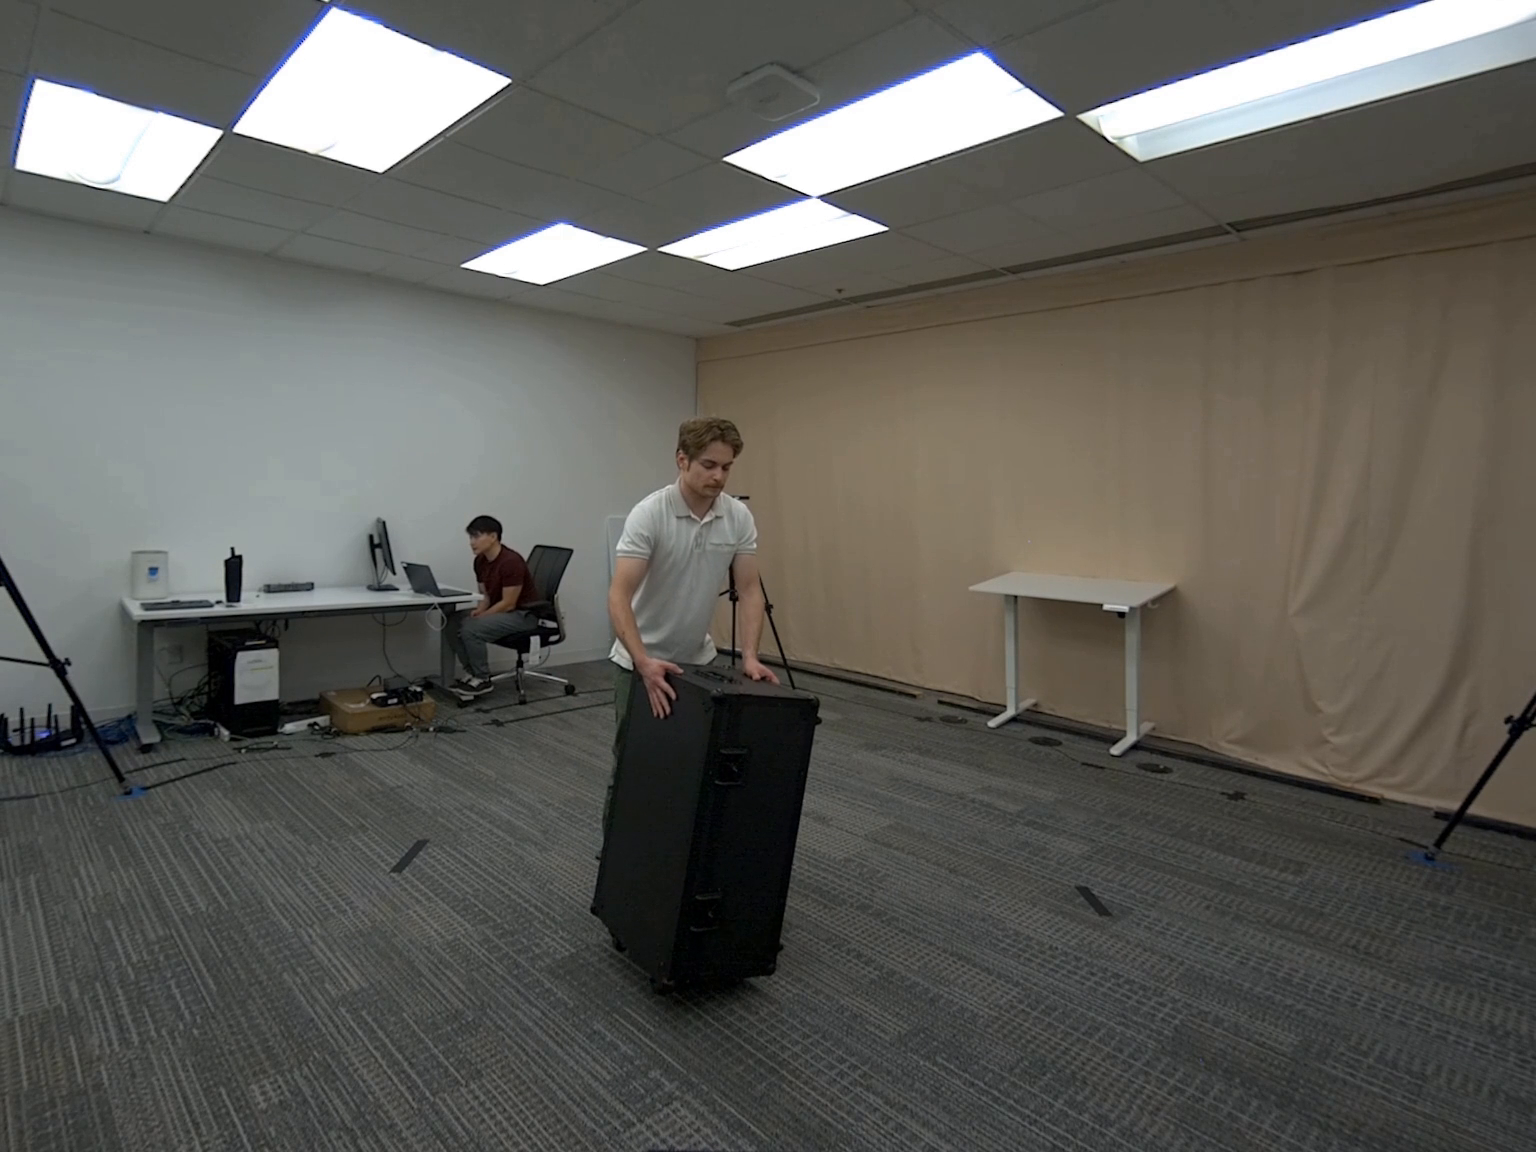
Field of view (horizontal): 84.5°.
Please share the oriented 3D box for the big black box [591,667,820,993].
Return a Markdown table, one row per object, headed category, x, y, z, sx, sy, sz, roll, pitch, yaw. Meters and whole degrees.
| category | x | y | z | sx | sy | sz | roll | pitch | yaw |
| --- | --- | --- | --- | --- | --- | --- | --- | --- | --- |
| big black box | -0.204 | 0.727 | 2.474 | 0.375 | 0.869 | 0.536 | 10 | -1 | -35 |
